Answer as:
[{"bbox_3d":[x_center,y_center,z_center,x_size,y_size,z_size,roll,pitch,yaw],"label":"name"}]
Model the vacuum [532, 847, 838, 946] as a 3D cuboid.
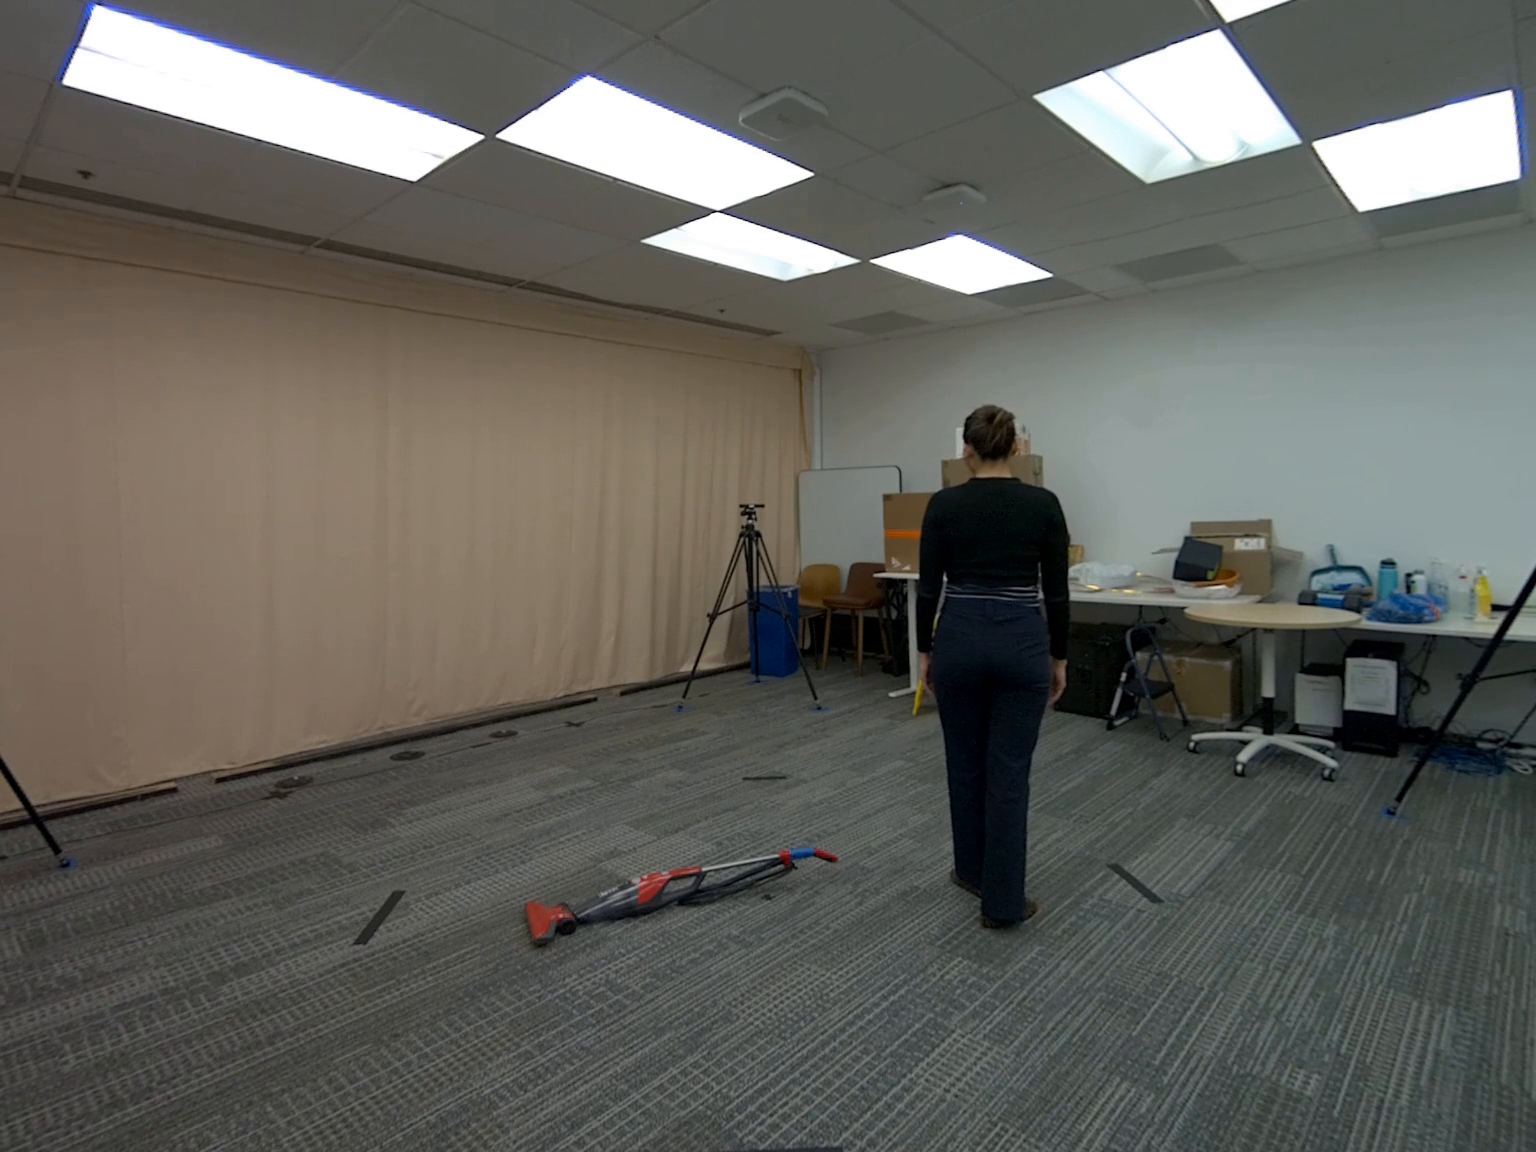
[{"bbox_3d":[-0.244,1.091,2.959,1.030,0.143,0.259,-4,10,-19],"label":"vacuum"}]
